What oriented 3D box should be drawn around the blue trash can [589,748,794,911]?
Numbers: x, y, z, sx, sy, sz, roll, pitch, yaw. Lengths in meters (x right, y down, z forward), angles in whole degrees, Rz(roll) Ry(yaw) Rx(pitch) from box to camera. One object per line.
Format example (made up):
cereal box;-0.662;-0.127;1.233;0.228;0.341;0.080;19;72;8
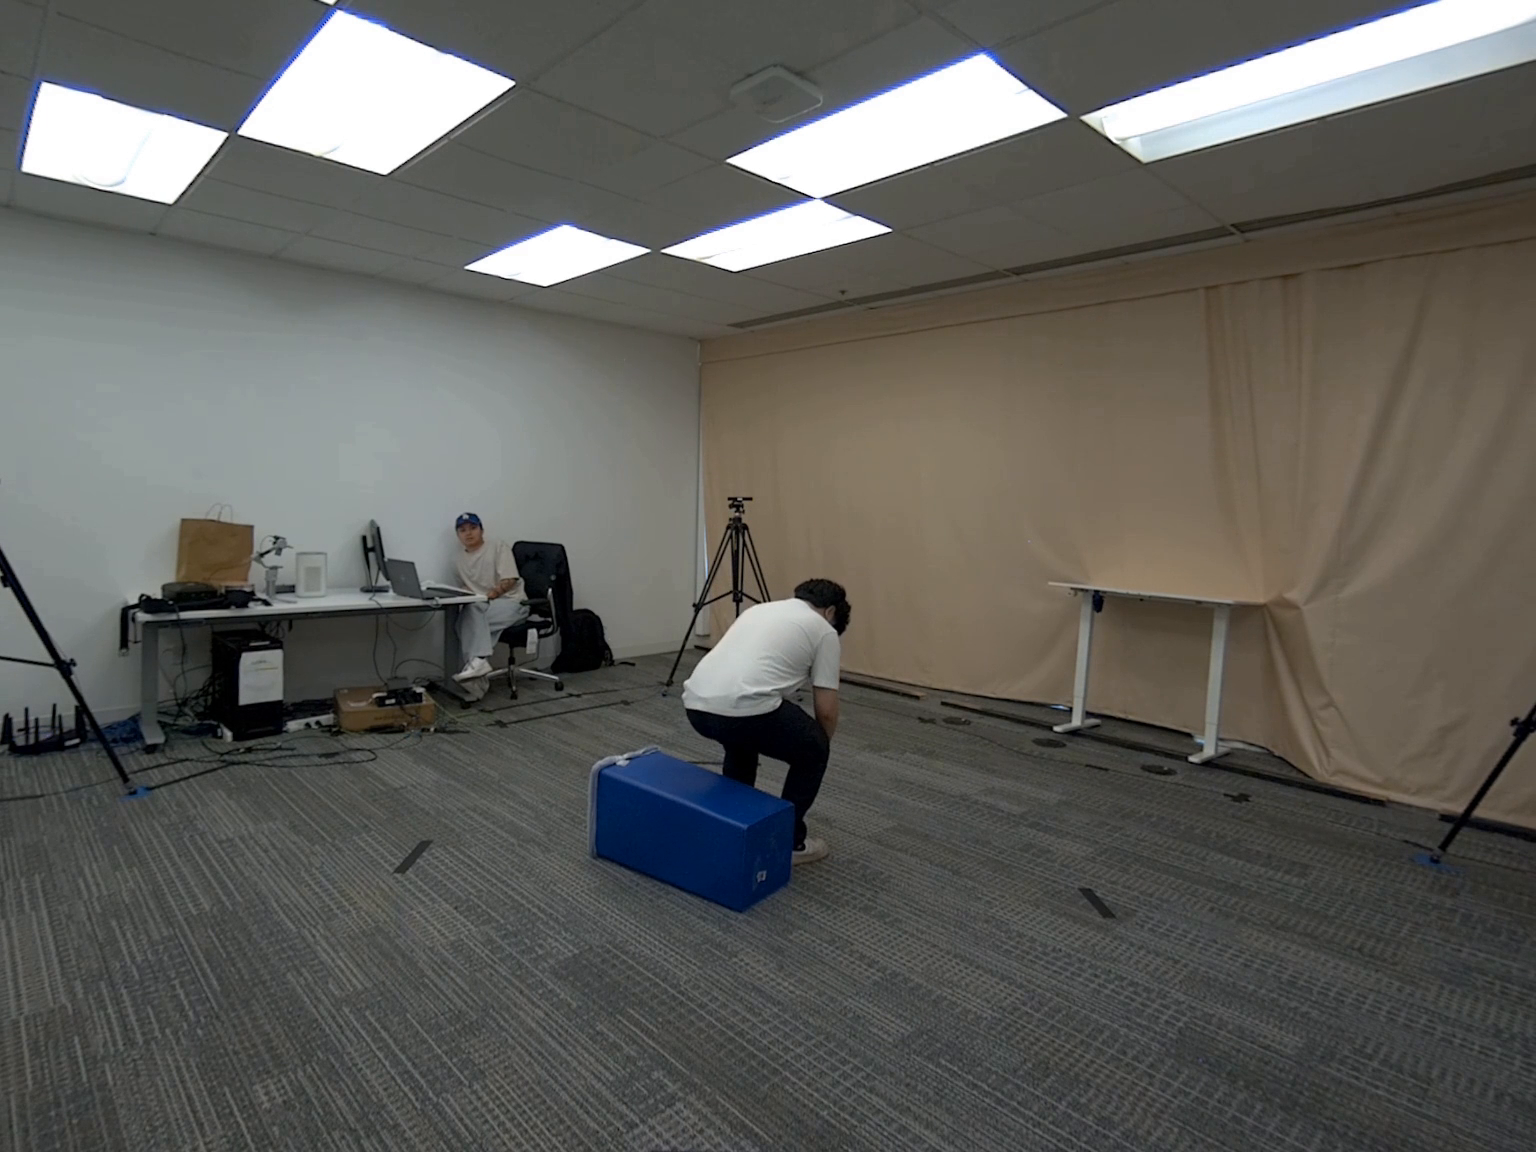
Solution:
blue trash can;-0.297;0.937;3.136;0.732;0.373;0.370;9;7;37
